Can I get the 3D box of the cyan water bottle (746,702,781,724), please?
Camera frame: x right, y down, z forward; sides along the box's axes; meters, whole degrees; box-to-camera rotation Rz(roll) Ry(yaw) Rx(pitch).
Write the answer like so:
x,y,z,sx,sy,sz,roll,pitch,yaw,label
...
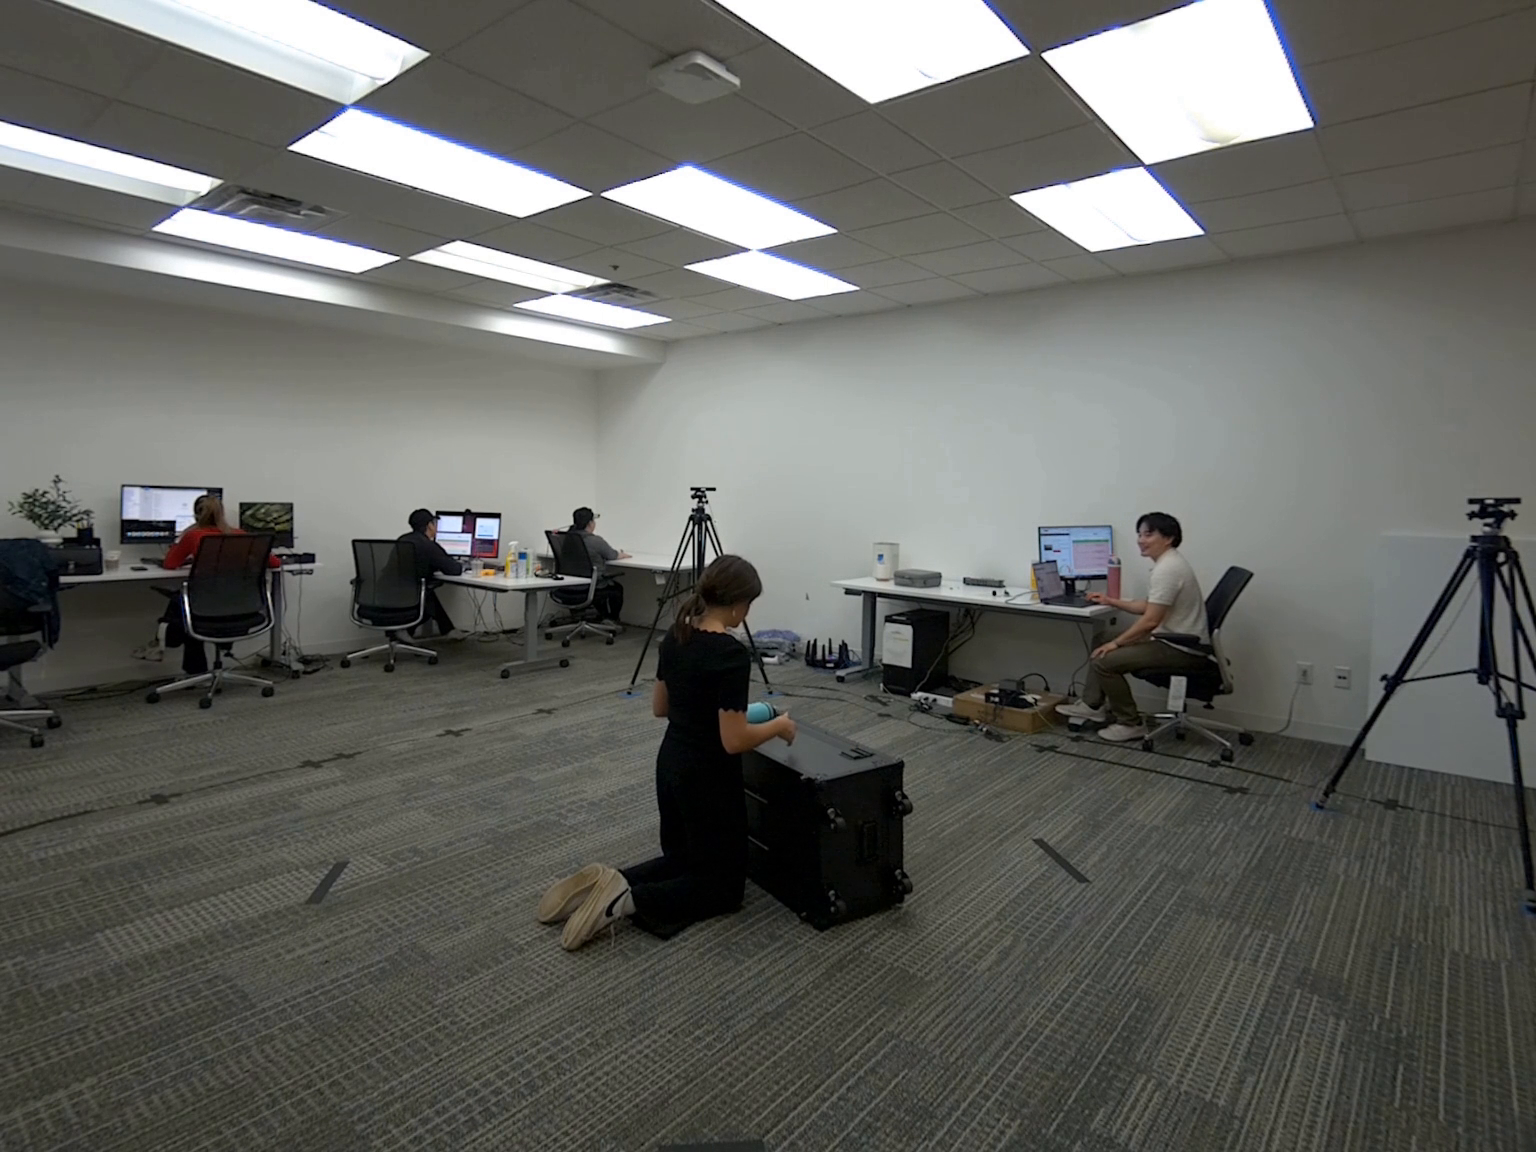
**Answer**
x,y,z,sx,sy,sz,roll,pitch,yaw,label
-0.090,0.524,3.182,0.275,0.092,0.095,-7,8,-41,cyan water bottle
